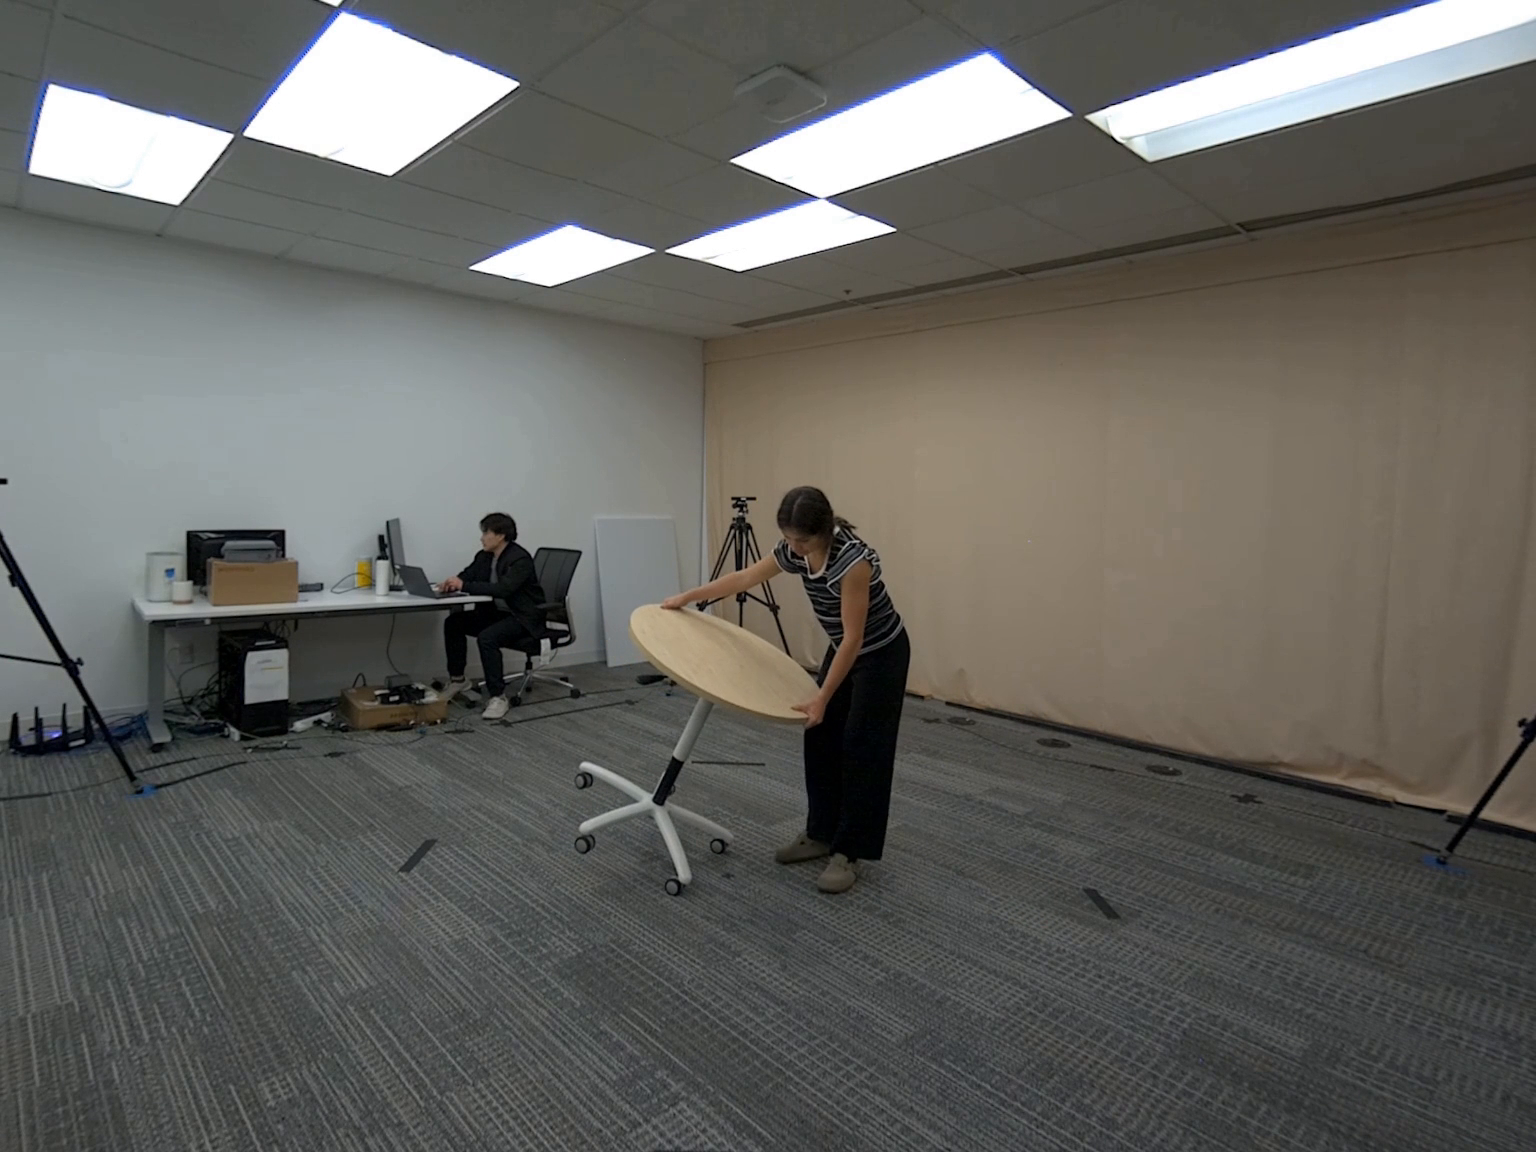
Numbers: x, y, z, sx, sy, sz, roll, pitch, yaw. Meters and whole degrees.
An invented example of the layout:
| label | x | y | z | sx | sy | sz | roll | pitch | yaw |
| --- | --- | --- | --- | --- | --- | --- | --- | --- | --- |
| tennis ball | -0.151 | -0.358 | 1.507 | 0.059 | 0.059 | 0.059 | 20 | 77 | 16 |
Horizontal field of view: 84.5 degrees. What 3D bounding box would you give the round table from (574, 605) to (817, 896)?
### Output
| label | x | y | z | sx | sy | sz | roll | pitch | yaw |
| --- | --- | --- | --- | --- | --- | --- | --- | --- | --- |
| round table | -0.317 | 0.639 | 3.142 | 0.759 | 0.790 | 0.772 | 23 | 13 | -7 |
